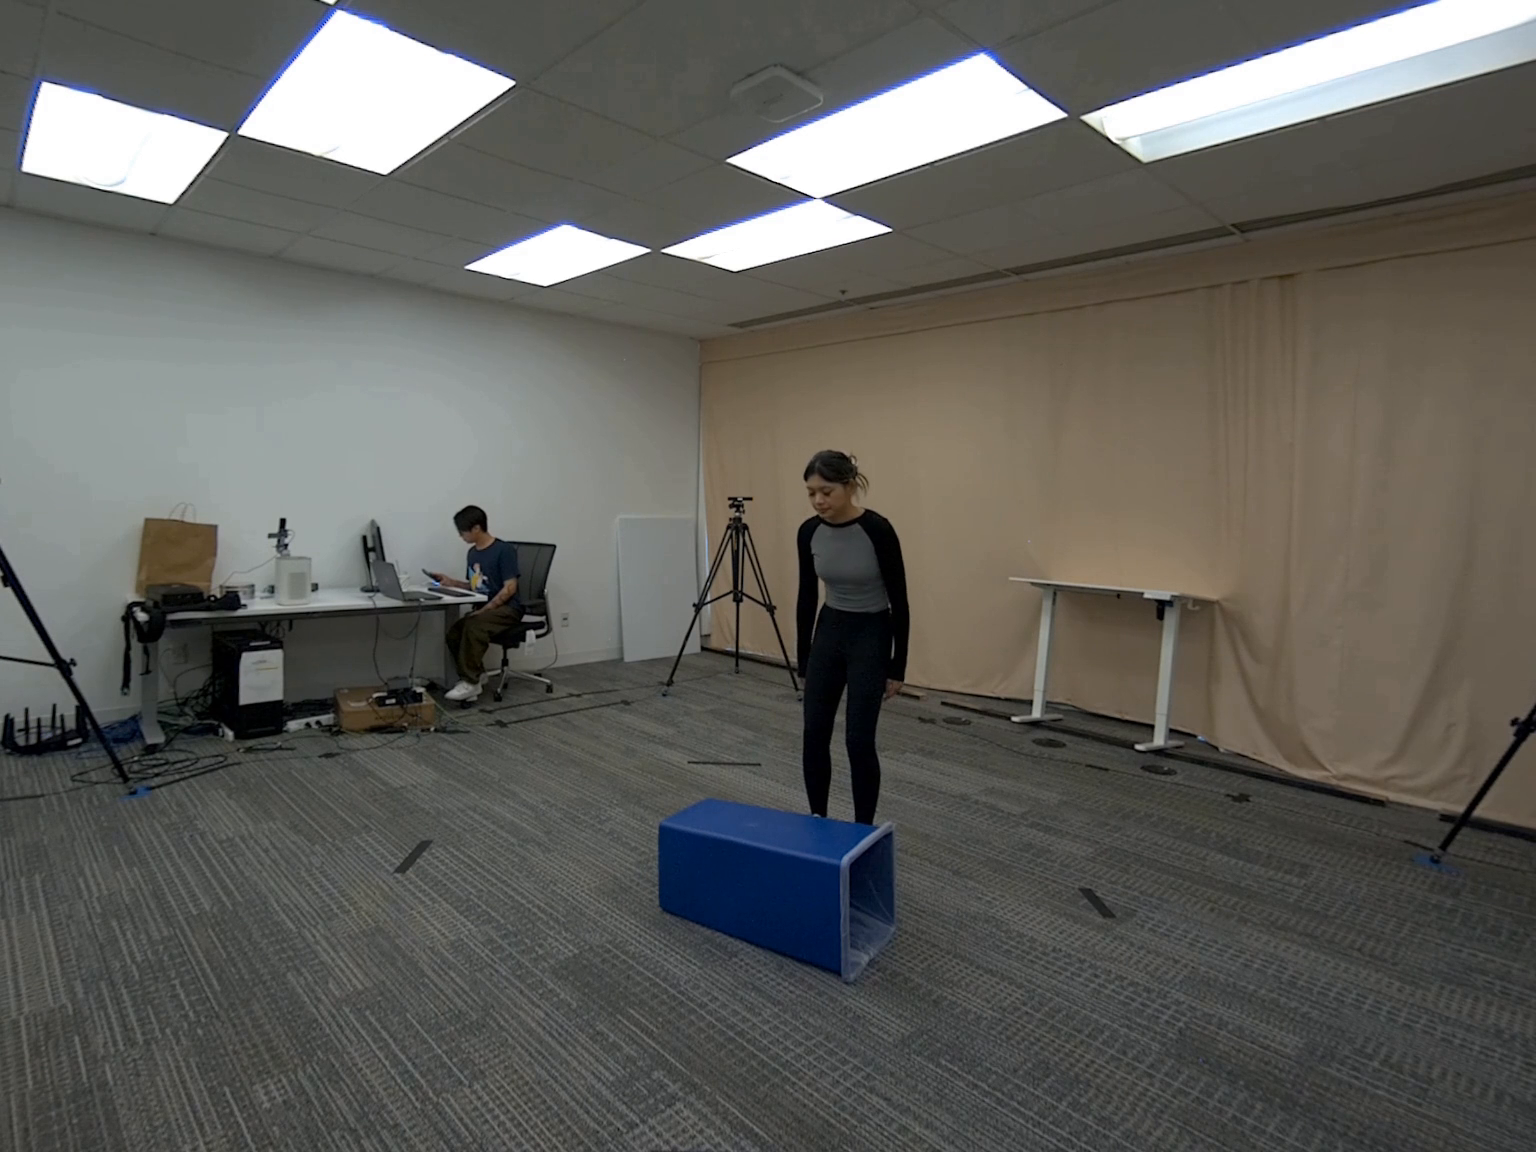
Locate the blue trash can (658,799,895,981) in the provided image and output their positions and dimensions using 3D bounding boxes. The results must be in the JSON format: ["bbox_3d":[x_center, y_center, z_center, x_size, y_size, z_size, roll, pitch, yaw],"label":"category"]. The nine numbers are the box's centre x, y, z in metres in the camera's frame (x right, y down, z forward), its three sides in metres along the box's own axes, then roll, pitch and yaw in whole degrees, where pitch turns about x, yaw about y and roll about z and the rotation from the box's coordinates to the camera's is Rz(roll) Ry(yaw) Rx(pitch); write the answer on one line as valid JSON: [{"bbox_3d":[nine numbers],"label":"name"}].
[{"bbox_3d":[0.010,0.973,2.757,0.730,0.377,0.367,2,5,33],"label":"blue trash can"}]
